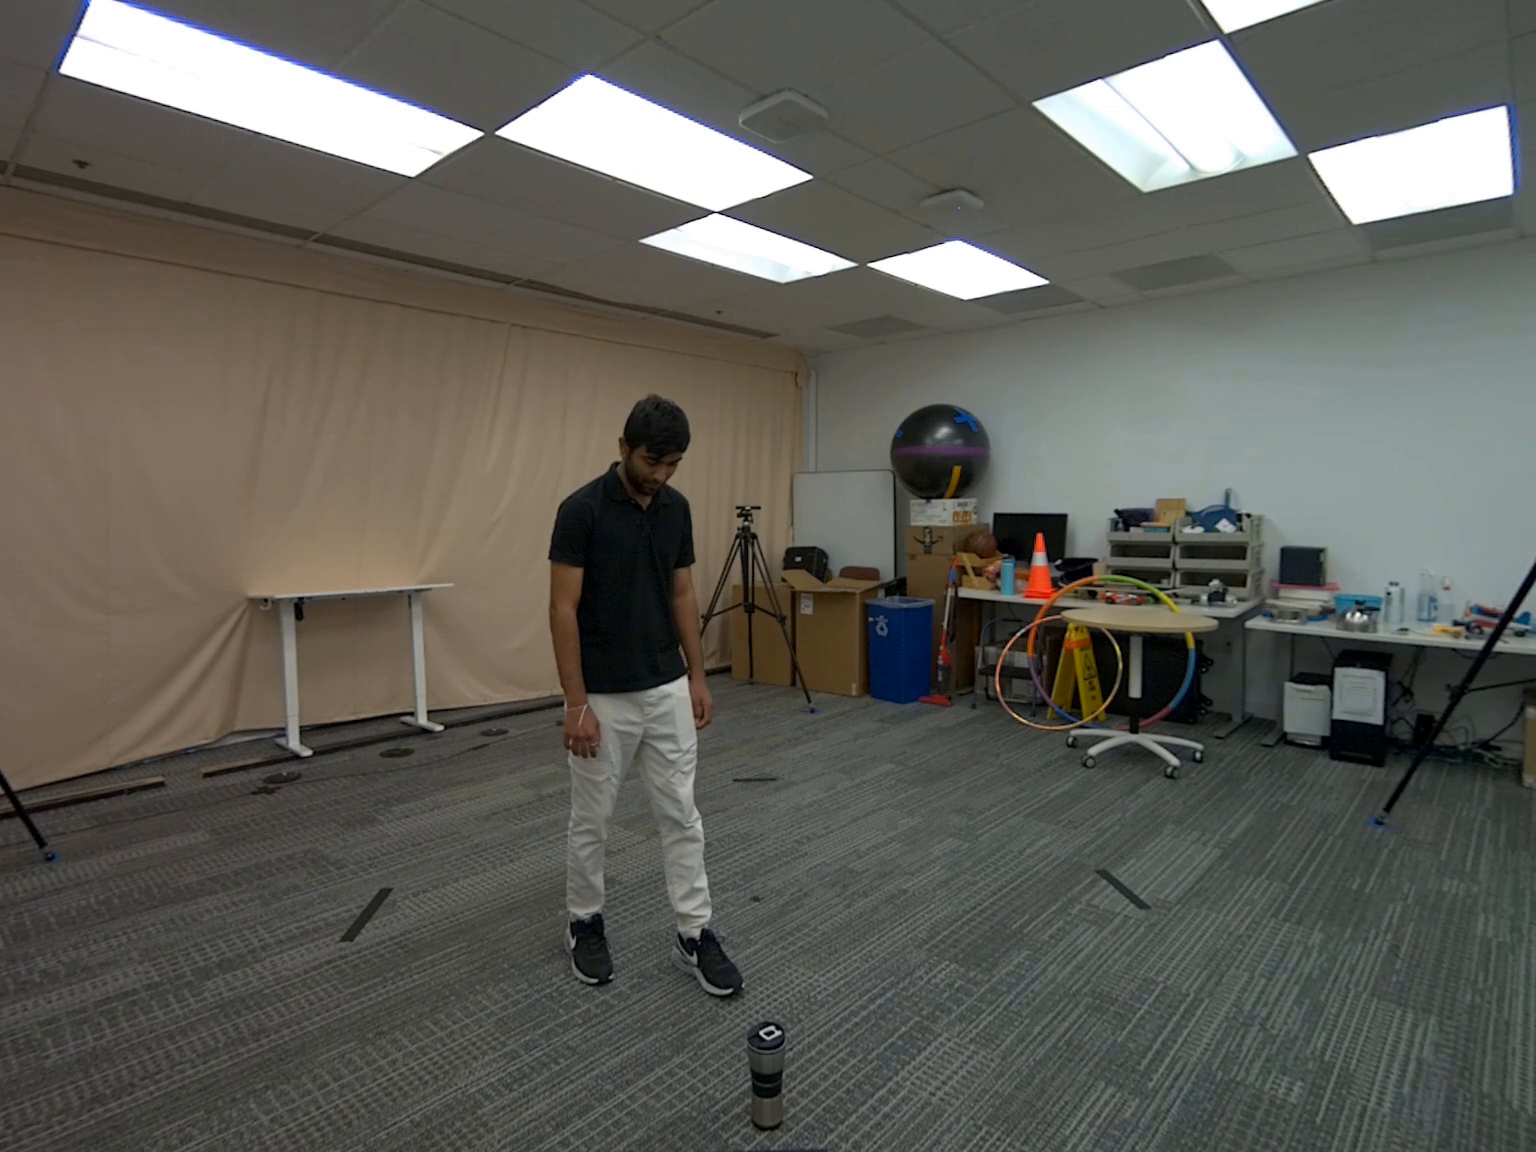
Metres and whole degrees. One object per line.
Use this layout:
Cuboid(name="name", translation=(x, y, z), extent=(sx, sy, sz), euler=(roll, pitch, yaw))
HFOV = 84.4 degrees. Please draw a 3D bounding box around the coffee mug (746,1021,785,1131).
Cuboid(name="coffee mug", translation=(0.017, 1.138, 1.912), extent=(0.090, 0.202, 0.118), euler=(-3, 4, 42))
